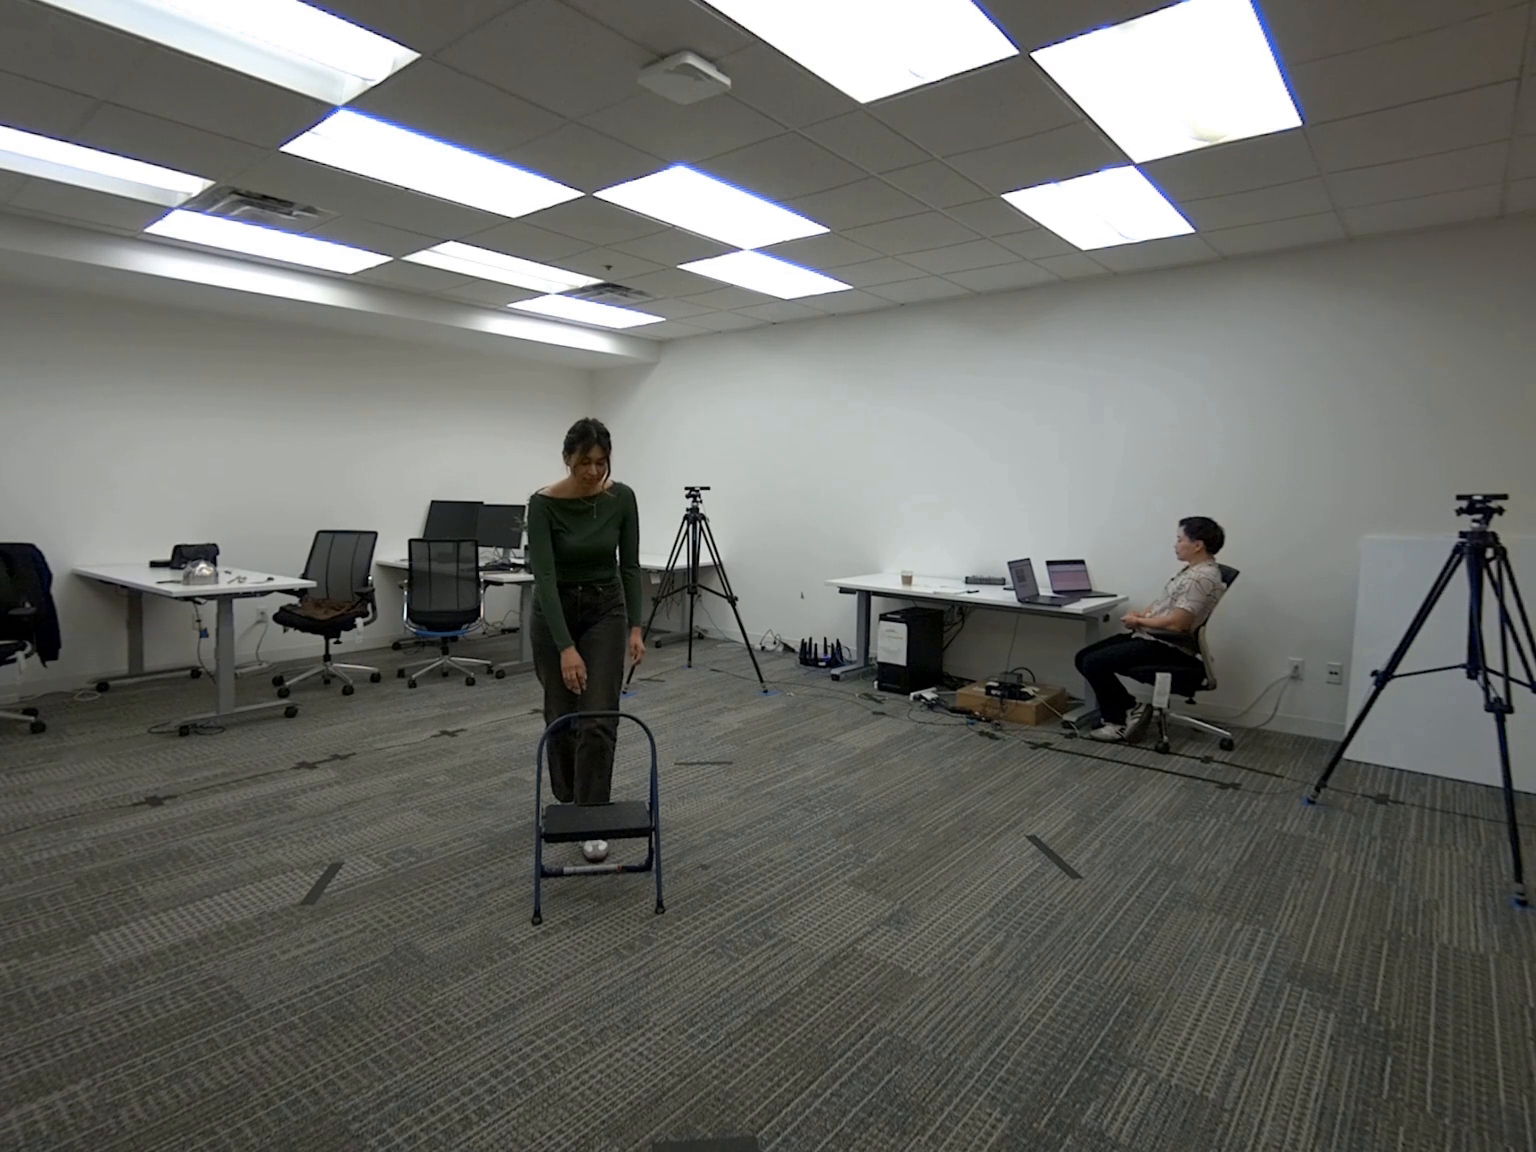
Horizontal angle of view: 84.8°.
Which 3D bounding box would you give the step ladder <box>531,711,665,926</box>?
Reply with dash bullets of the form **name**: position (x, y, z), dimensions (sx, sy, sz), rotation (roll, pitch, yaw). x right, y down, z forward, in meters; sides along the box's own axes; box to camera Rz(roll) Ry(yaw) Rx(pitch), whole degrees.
- **step ladder**: position (-0.586, 0.781, 2.891), dimensions (0.425, 0.604, 0.355), rotation (0, 3, -12)
